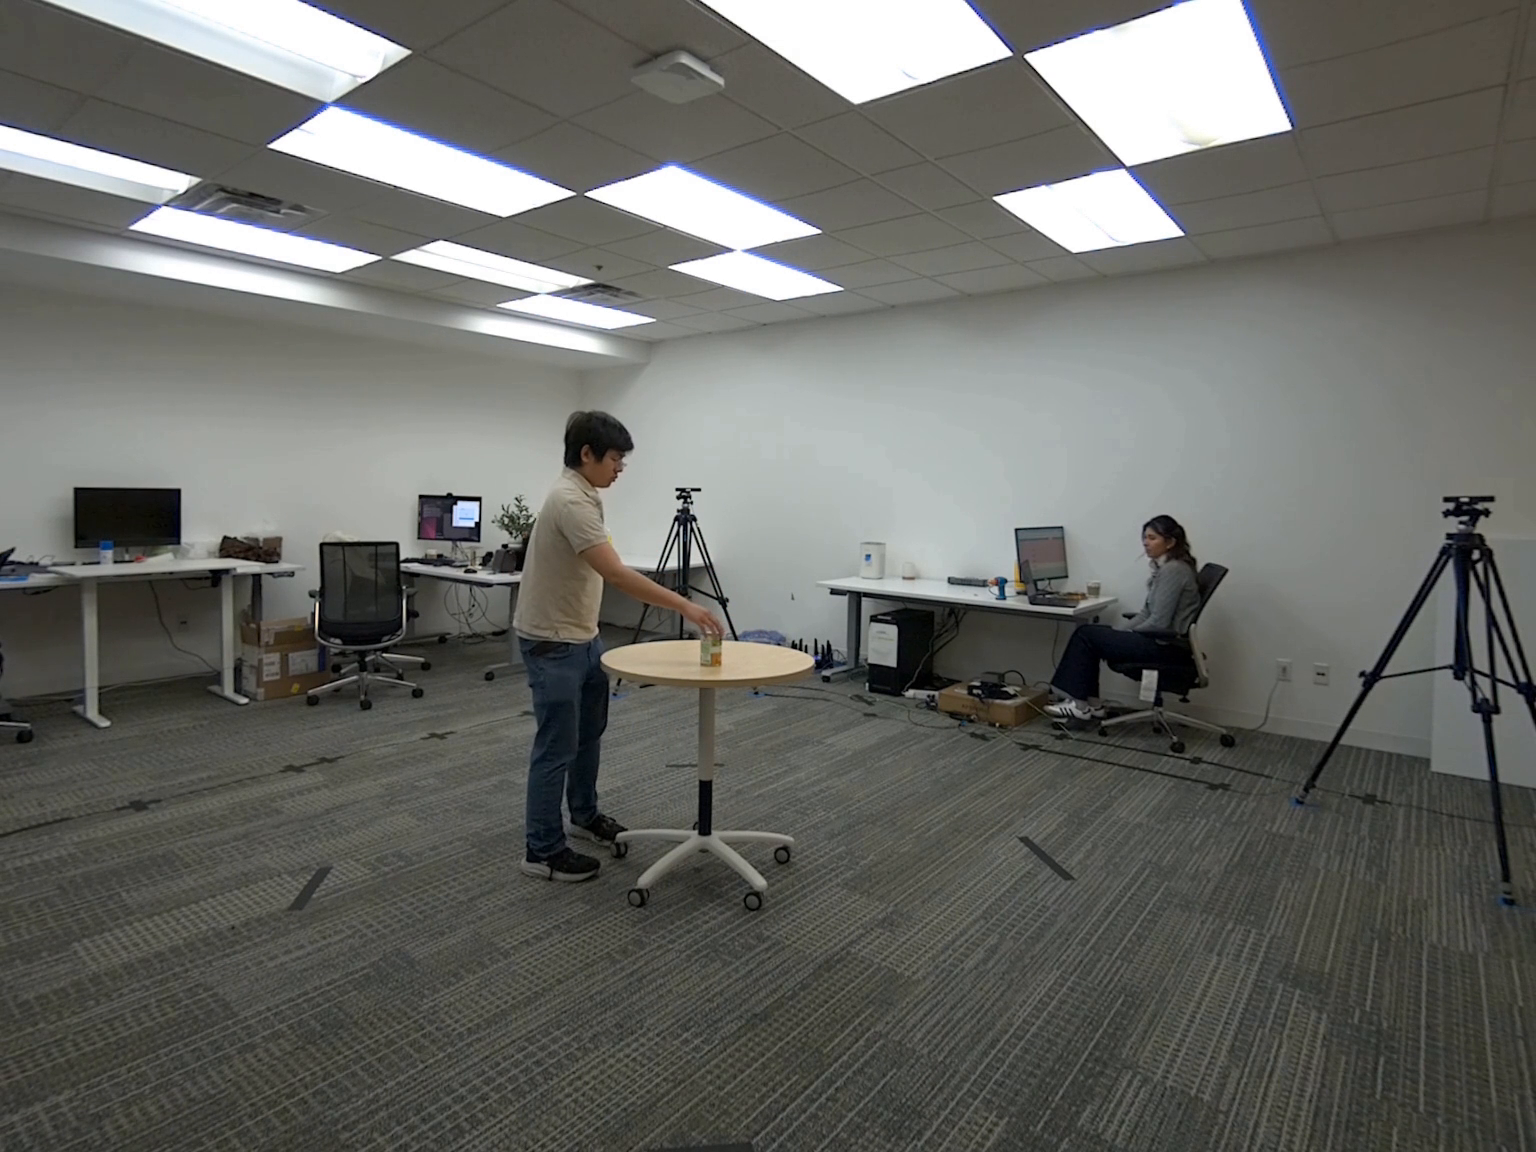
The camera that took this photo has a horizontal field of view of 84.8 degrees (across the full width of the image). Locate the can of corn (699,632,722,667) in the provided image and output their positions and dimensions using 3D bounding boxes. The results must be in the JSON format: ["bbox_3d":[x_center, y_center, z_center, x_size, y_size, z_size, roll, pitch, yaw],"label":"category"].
[{"bbox_3d":[-0.211,0.248,2.924,0.074,0.110,0.074,-2,5,-2],"label":"can of corn"}]
